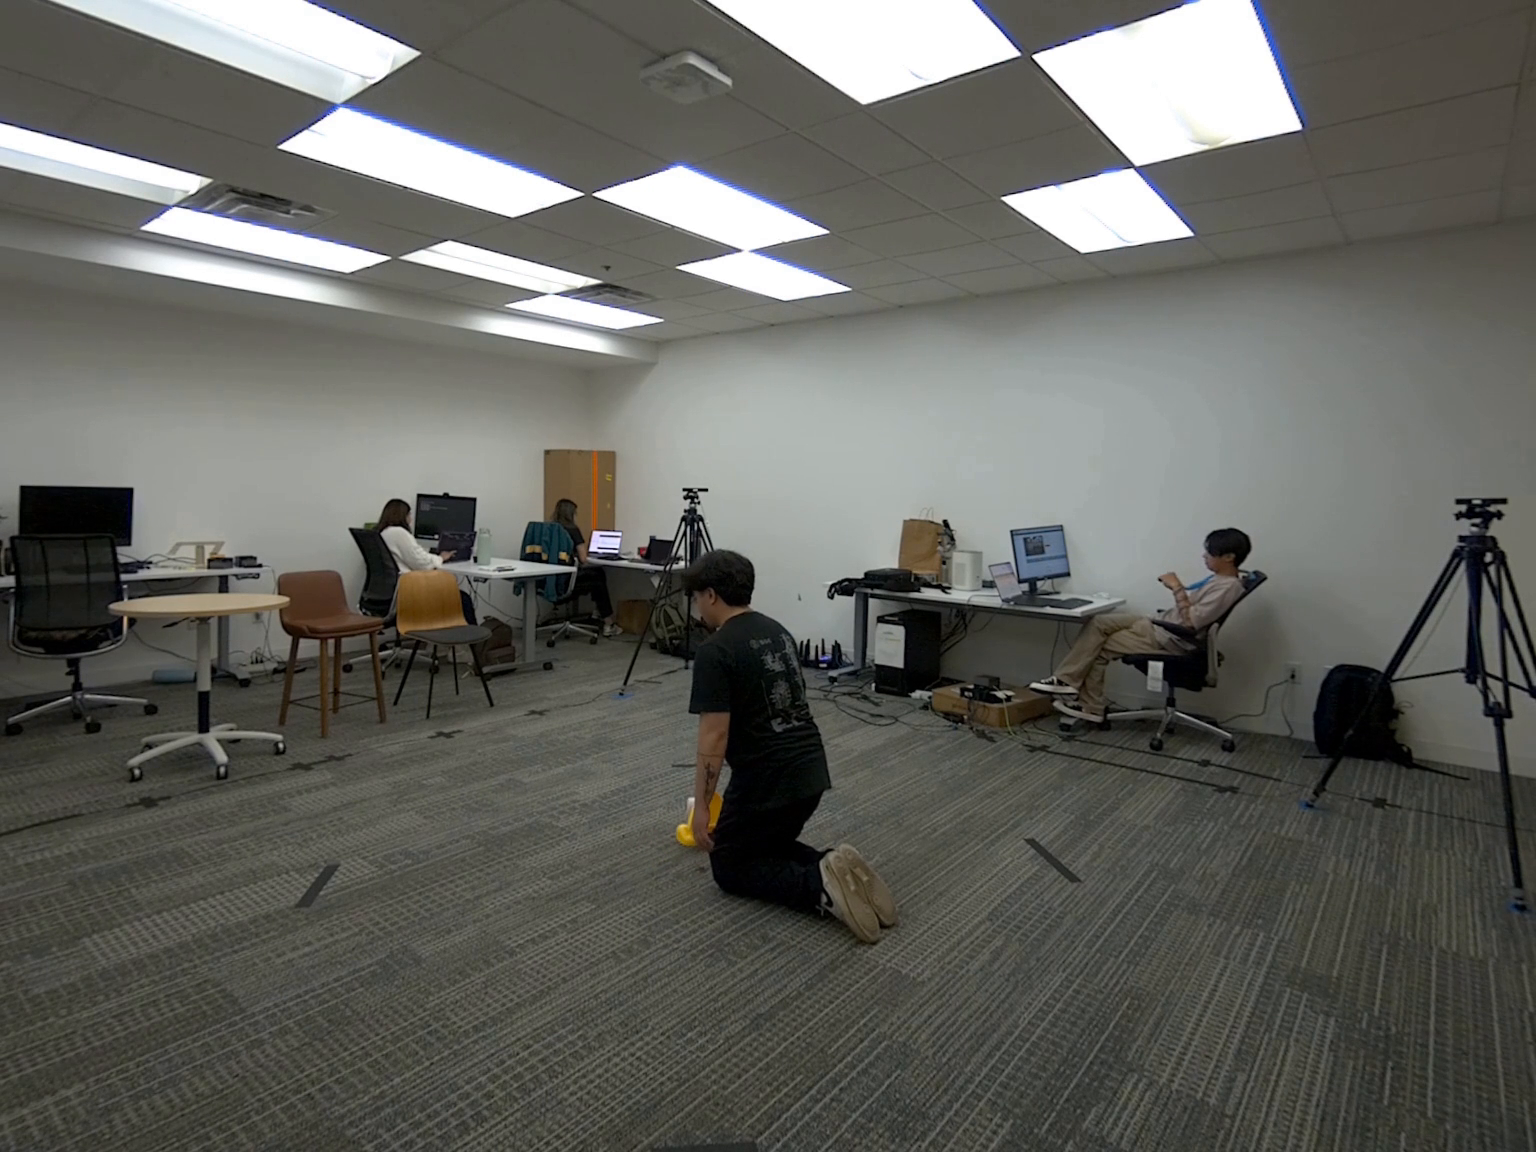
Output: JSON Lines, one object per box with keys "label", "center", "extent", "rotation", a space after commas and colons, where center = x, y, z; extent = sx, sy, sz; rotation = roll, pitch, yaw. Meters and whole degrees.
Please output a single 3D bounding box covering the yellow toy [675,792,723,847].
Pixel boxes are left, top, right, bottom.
{"label": "yellow toy", "center": [-0.270, 0.928, 3.389], "extent": [0.199, 0.230, 0.199], "rotation": [-1, 5, -30]}
